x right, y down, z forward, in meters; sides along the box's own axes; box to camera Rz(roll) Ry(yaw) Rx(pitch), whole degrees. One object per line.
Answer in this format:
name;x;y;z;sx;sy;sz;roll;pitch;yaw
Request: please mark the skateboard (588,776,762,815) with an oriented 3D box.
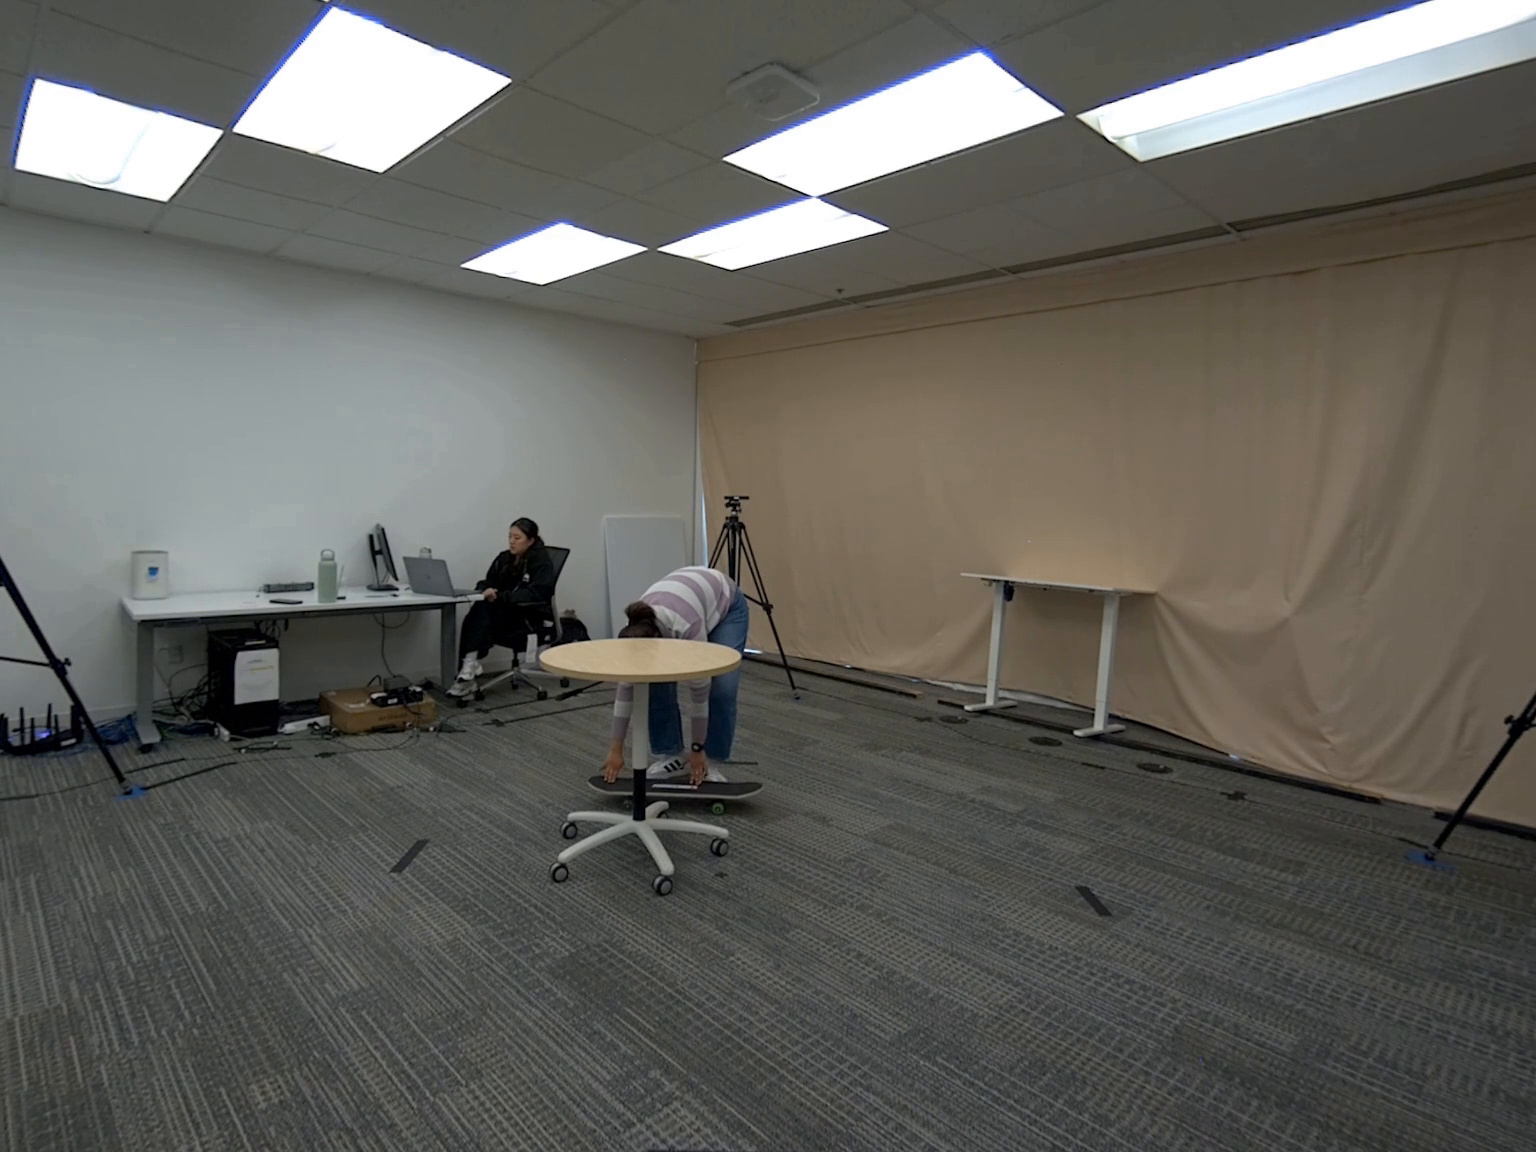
skateboard;-0.426;0.978;3.780;0.787;0.110;0.194;1;5;2
